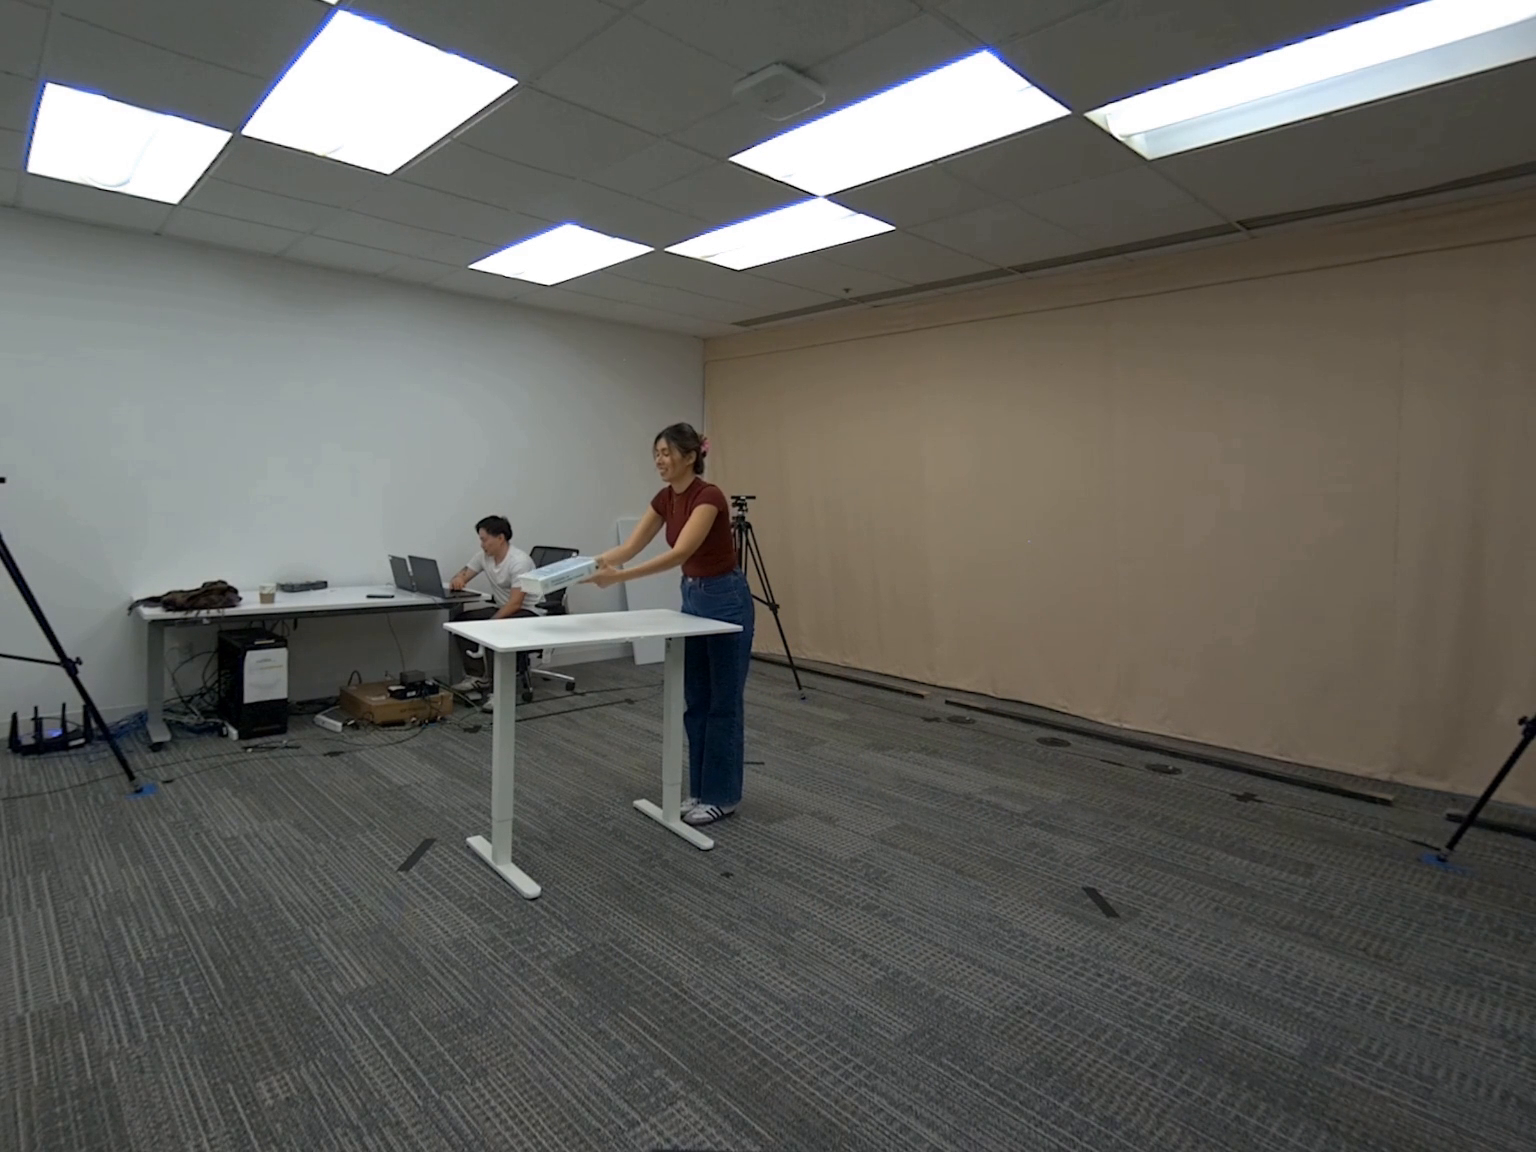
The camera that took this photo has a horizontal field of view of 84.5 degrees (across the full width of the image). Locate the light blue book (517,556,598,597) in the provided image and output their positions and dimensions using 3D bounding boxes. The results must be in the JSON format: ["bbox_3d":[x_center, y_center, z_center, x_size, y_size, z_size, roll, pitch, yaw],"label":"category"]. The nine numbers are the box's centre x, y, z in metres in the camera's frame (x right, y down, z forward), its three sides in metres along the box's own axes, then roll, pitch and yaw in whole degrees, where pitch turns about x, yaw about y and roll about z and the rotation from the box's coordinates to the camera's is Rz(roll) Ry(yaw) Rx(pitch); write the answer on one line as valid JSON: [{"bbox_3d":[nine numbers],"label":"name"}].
[{"bbox_3d":[-0.780,-0.006,3.154,0.258,0.058,0.196,-25,21,-39],"label":"light blue book"}]
